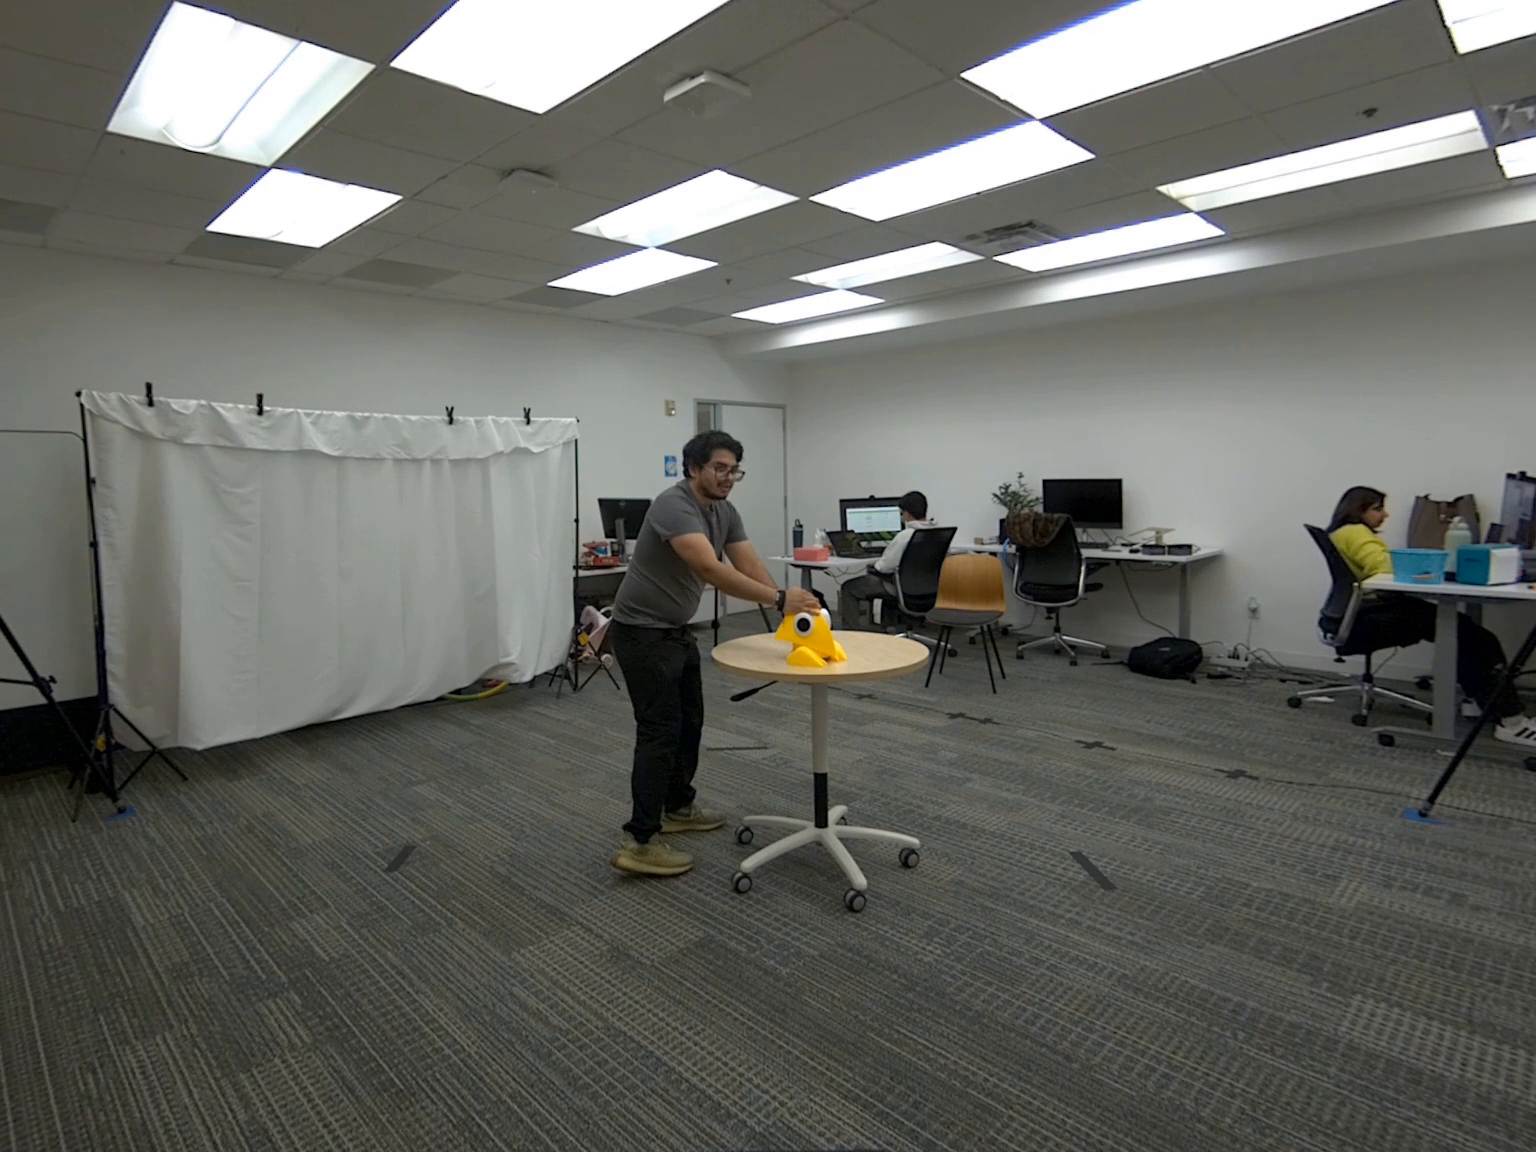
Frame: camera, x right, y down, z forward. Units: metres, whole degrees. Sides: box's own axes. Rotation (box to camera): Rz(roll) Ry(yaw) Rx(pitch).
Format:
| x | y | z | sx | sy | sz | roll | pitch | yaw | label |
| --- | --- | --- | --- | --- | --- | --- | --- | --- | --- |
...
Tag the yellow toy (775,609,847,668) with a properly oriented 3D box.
| x | y | z | sx | sy | sz | roll | pitch | yaw | label |
| --- | --- | --- | --- | --- | --- | --- | --- | --- | --- |
| 0.156 | 0.169 | 2.873 | 0.199 | 0.230 | 0.199 | 4 | 7 | 43 | yellow toy |
